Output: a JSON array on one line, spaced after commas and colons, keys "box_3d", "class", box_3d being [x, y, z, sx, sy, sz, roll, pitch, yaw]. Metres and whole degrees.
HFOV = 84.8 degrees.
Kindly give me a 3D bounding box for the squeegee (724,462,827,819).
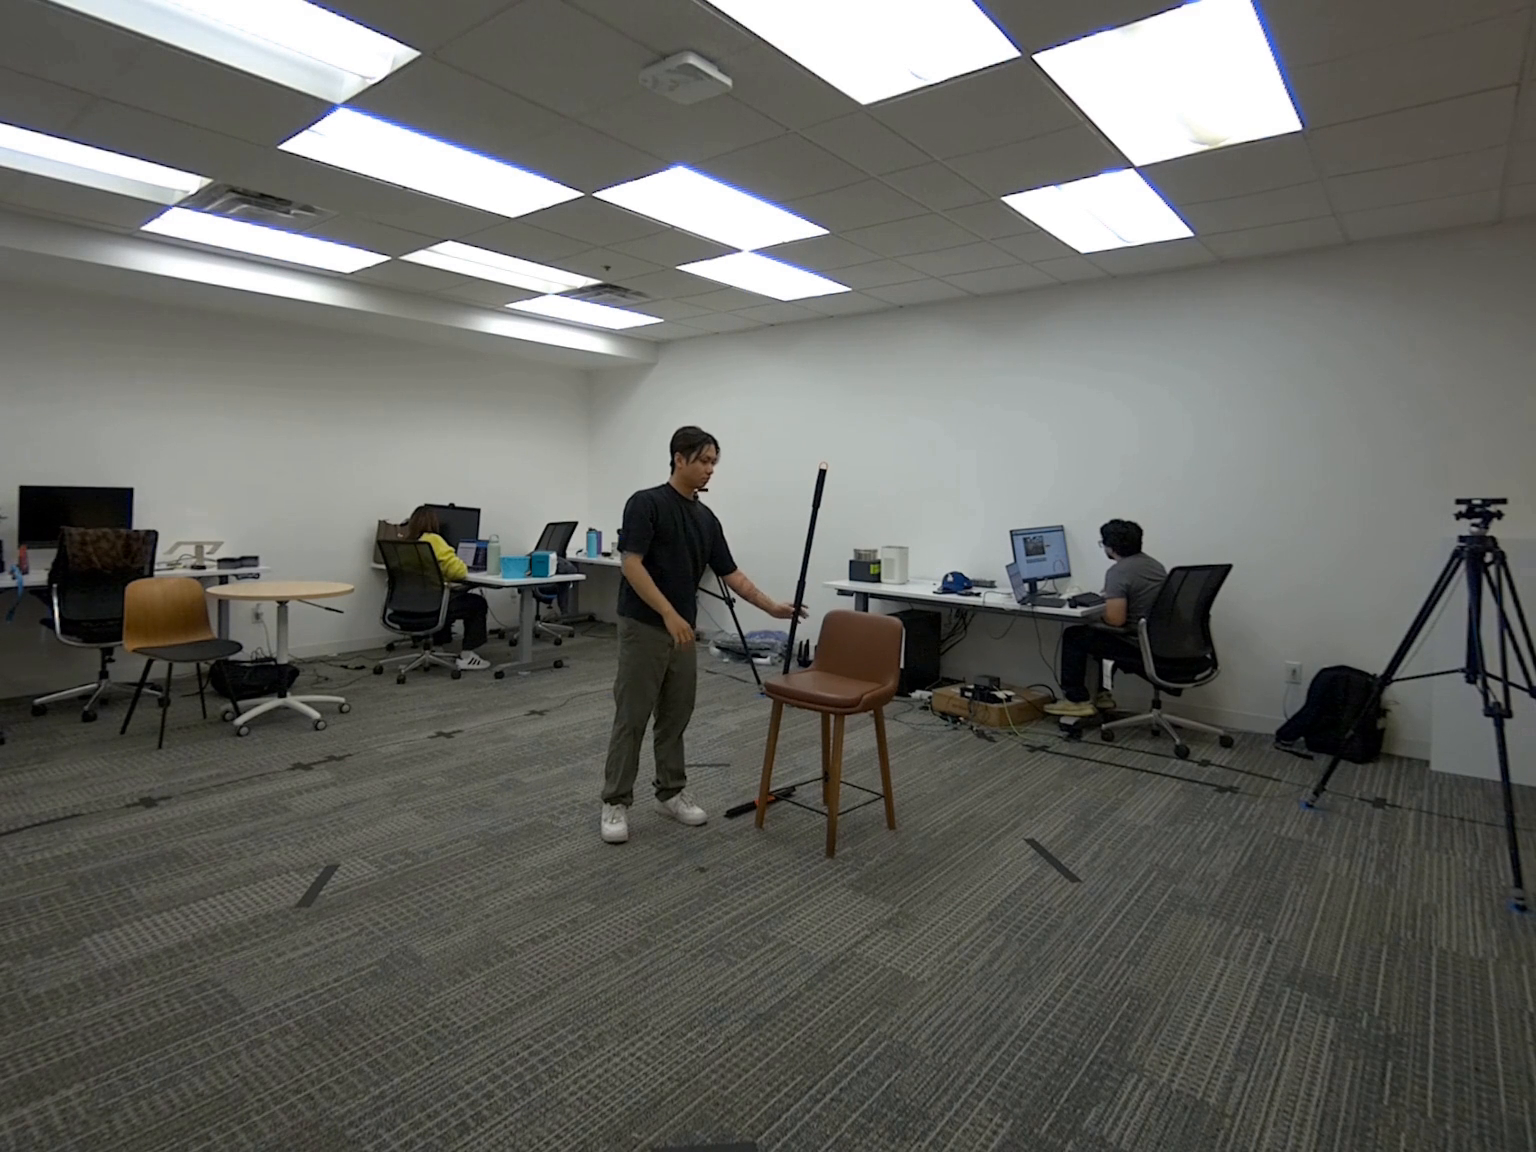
[{"box_3d": [0.089, 0.259, 3.619, 0.424, 1.528, 0.055, 3, 9, -35], "class": "squeegee"}]
